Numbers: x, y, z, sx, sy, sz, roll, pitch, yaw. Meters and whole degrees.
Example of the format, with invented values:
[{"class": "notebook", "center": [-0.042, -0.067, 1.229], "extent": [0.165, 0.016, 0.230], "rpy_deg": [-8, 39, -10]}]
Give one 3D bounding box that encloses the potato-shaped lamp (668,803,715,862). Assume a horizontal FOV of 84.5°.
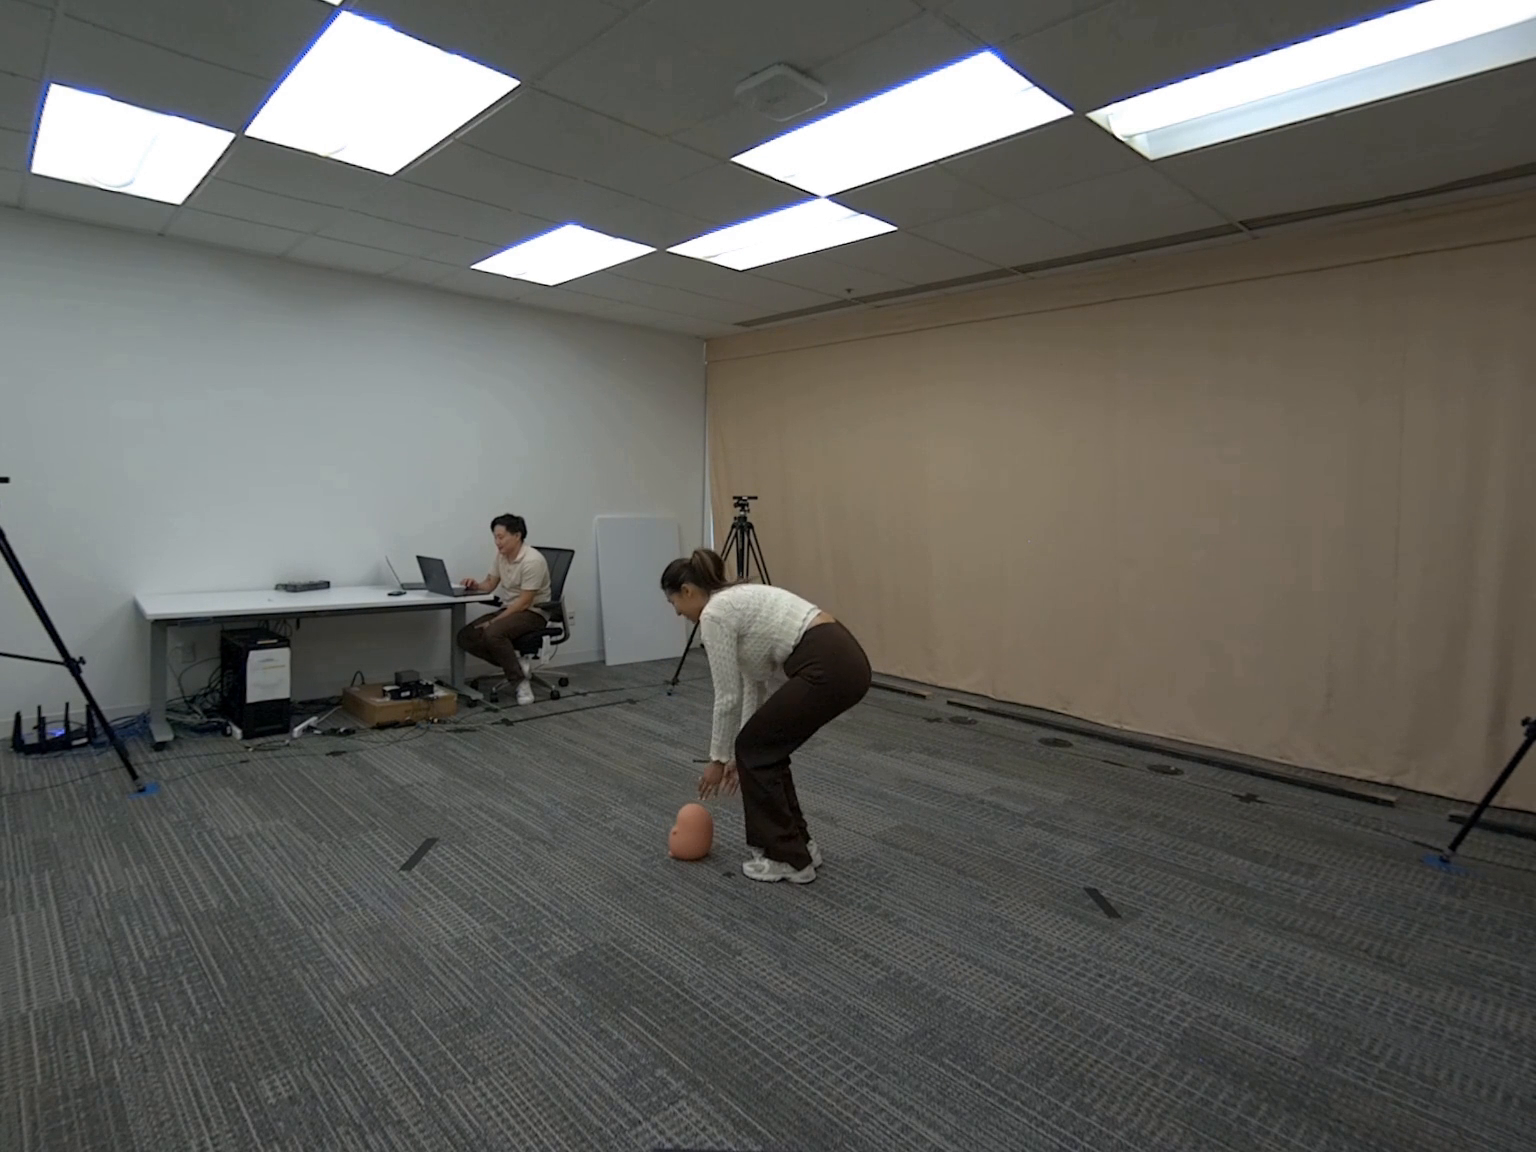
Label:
[{"class": "potato-shaped lamp", "center": [-0.301, 0.976, 3.262], "extent": [0.174, 0.197, 0.163], "rpy_deg": [4, 5, 16]}]
